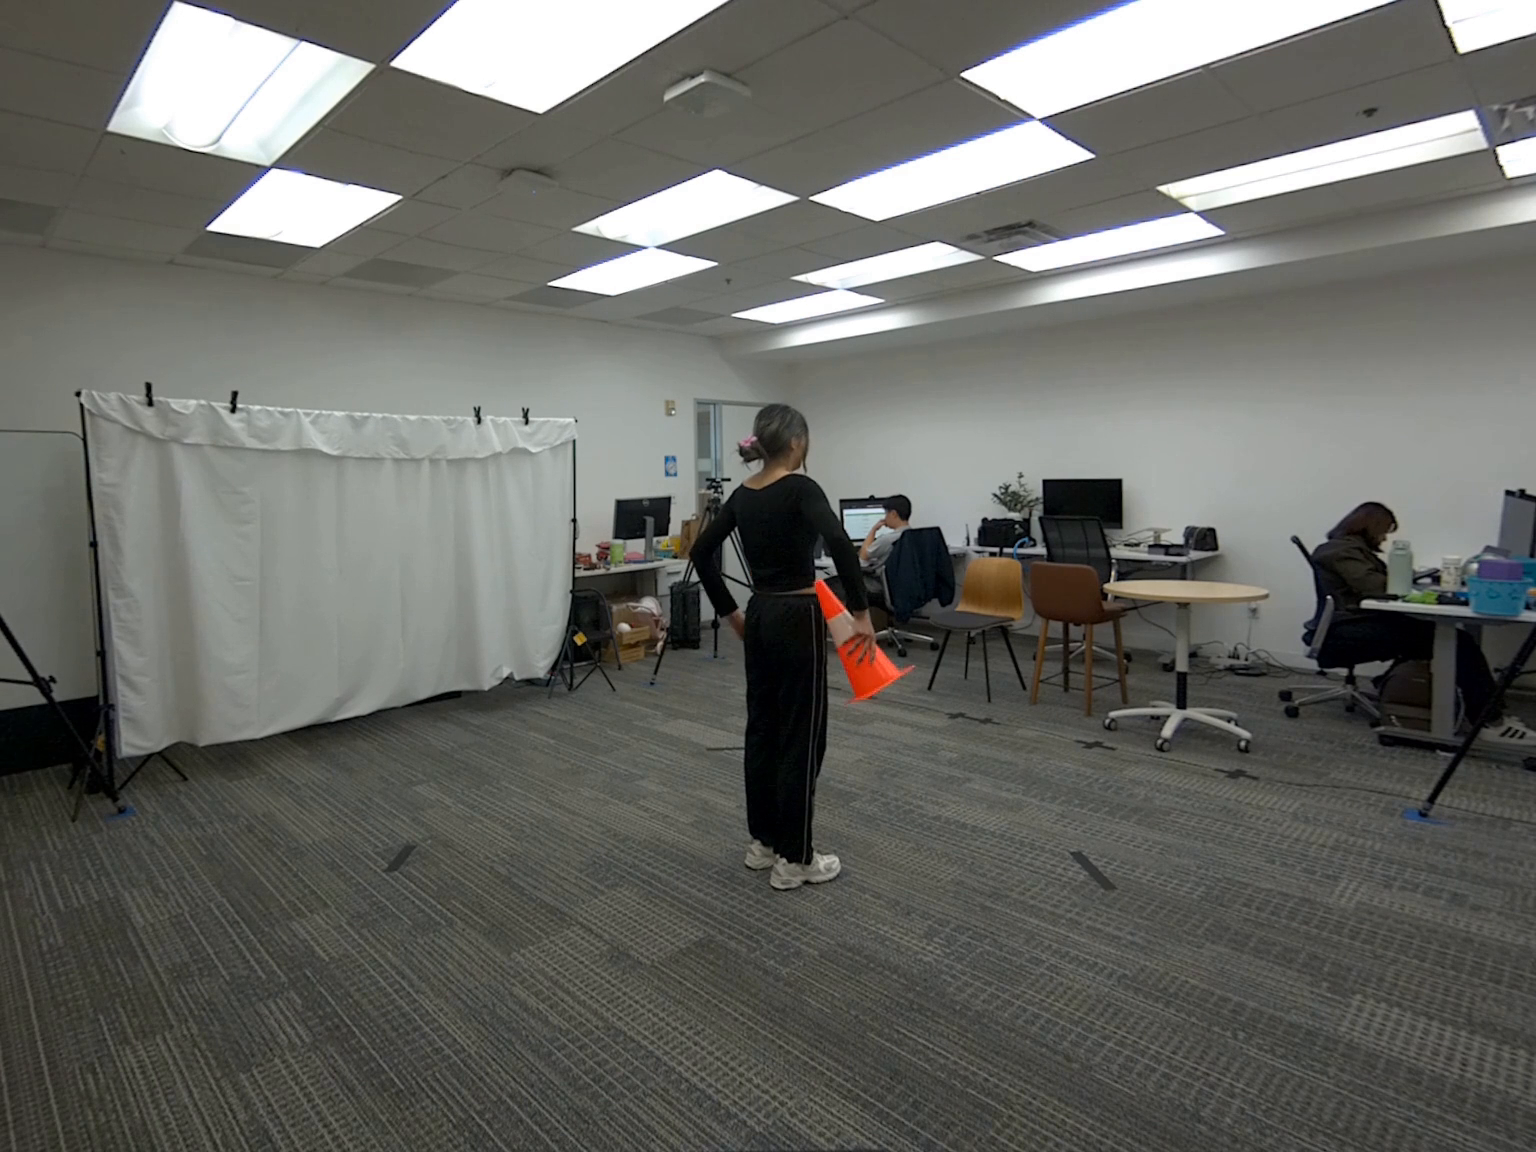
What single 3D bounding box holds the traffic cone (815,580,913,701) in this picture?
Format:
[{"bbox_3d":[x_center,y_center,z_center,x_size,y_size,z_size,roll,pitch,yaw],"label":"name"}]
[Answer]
[{"bbox_3d":[0.252,0.182,2.721,0.201,0.387,0.205,-27,-7,-27],"label":"traffic cone"}]
